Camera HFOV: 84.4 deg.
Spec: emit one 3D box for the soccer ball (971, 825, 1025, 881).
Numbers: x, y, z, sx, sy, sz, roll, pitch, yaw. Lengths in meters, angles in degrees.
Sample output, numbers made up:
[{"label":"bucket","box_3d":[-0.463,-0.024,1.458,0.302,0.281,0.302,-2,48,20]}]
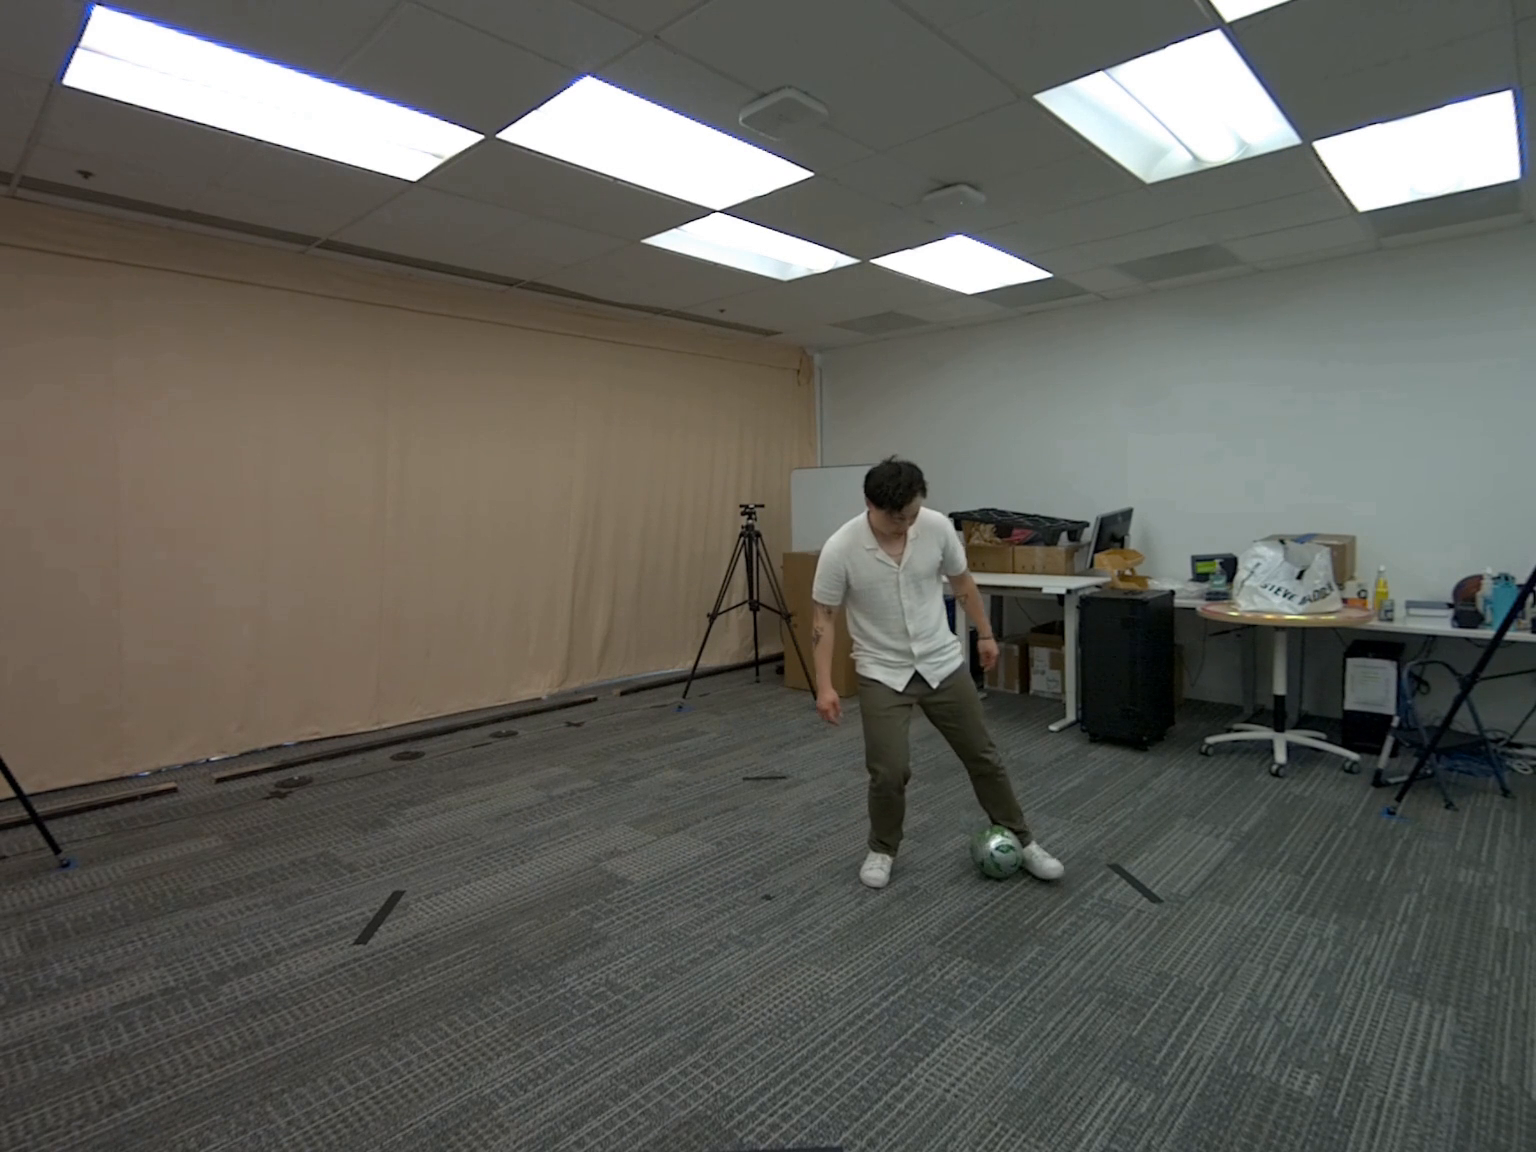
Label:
[{"label":"soccer ball","box_3d":[0.827,1.025,3.102,0.187,0.187,0.188,-1,4,-2]}]
